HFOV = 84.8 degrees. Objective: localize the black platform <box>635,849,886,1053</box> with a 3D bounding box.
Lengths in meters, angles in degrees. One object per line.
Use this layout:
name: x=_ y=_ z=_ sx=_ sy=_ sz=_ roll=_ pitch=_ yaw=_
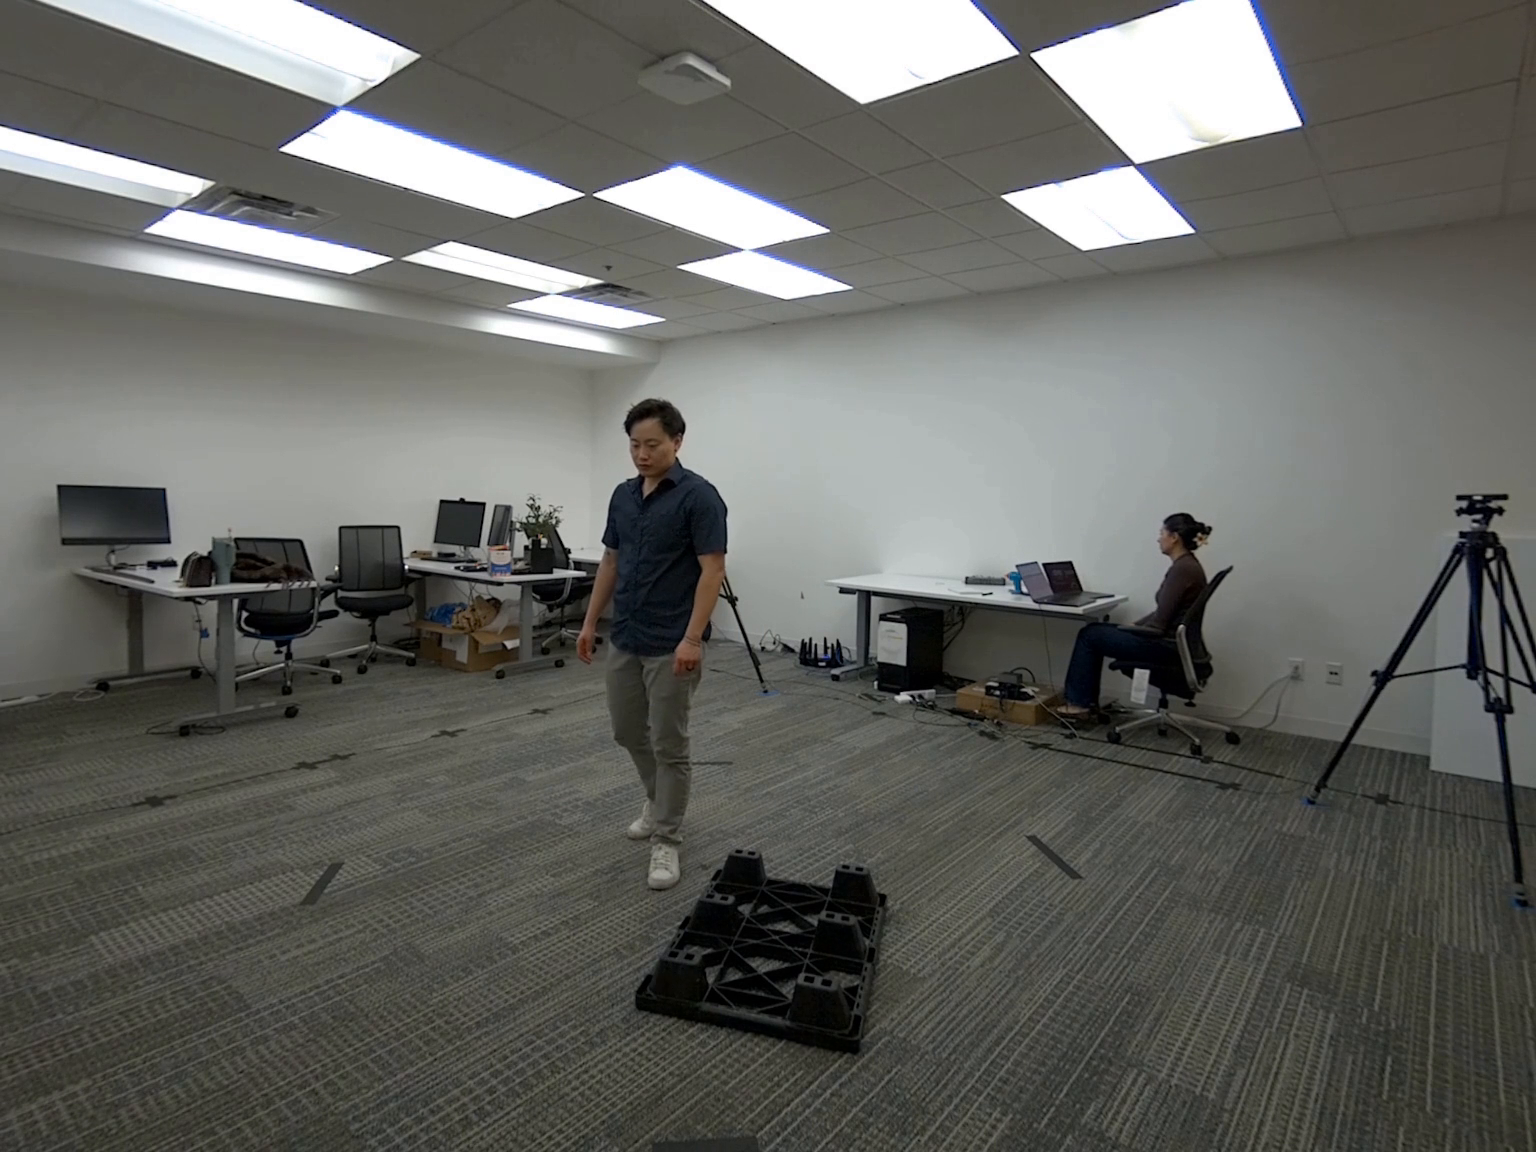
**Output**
black platform: x=0.022 y=1.060 z=2.550 sx=0.615 sy=0.143 sz=0.796 roll=2 pitch=6 yaw=14
